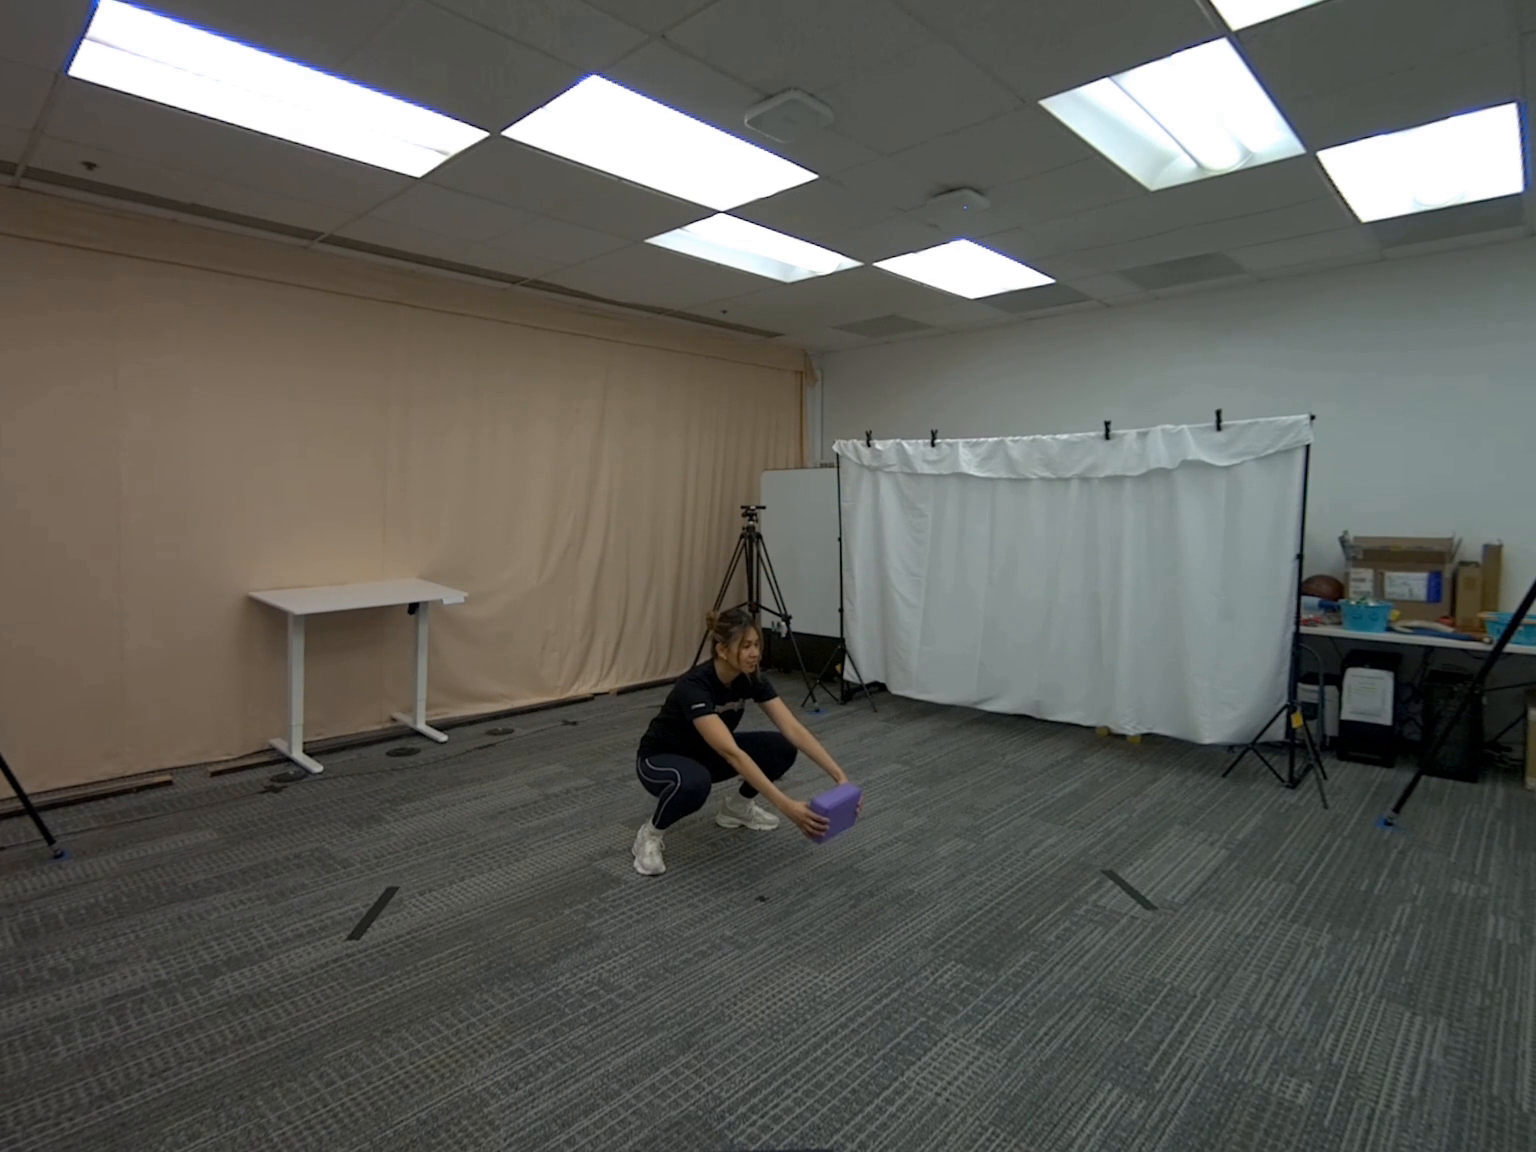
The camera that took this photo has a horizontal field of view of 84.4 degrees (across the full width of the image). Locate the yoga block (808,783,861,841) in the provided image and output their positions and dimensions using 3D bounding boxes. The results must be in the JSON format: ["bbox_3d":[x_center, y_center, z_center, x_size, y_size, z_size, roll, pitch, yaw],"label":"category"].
[{"bbox_3d":[0.236,0.834,2.987,0.079,0.148,0.222,21,17,36],"label":"yoga block"}]
